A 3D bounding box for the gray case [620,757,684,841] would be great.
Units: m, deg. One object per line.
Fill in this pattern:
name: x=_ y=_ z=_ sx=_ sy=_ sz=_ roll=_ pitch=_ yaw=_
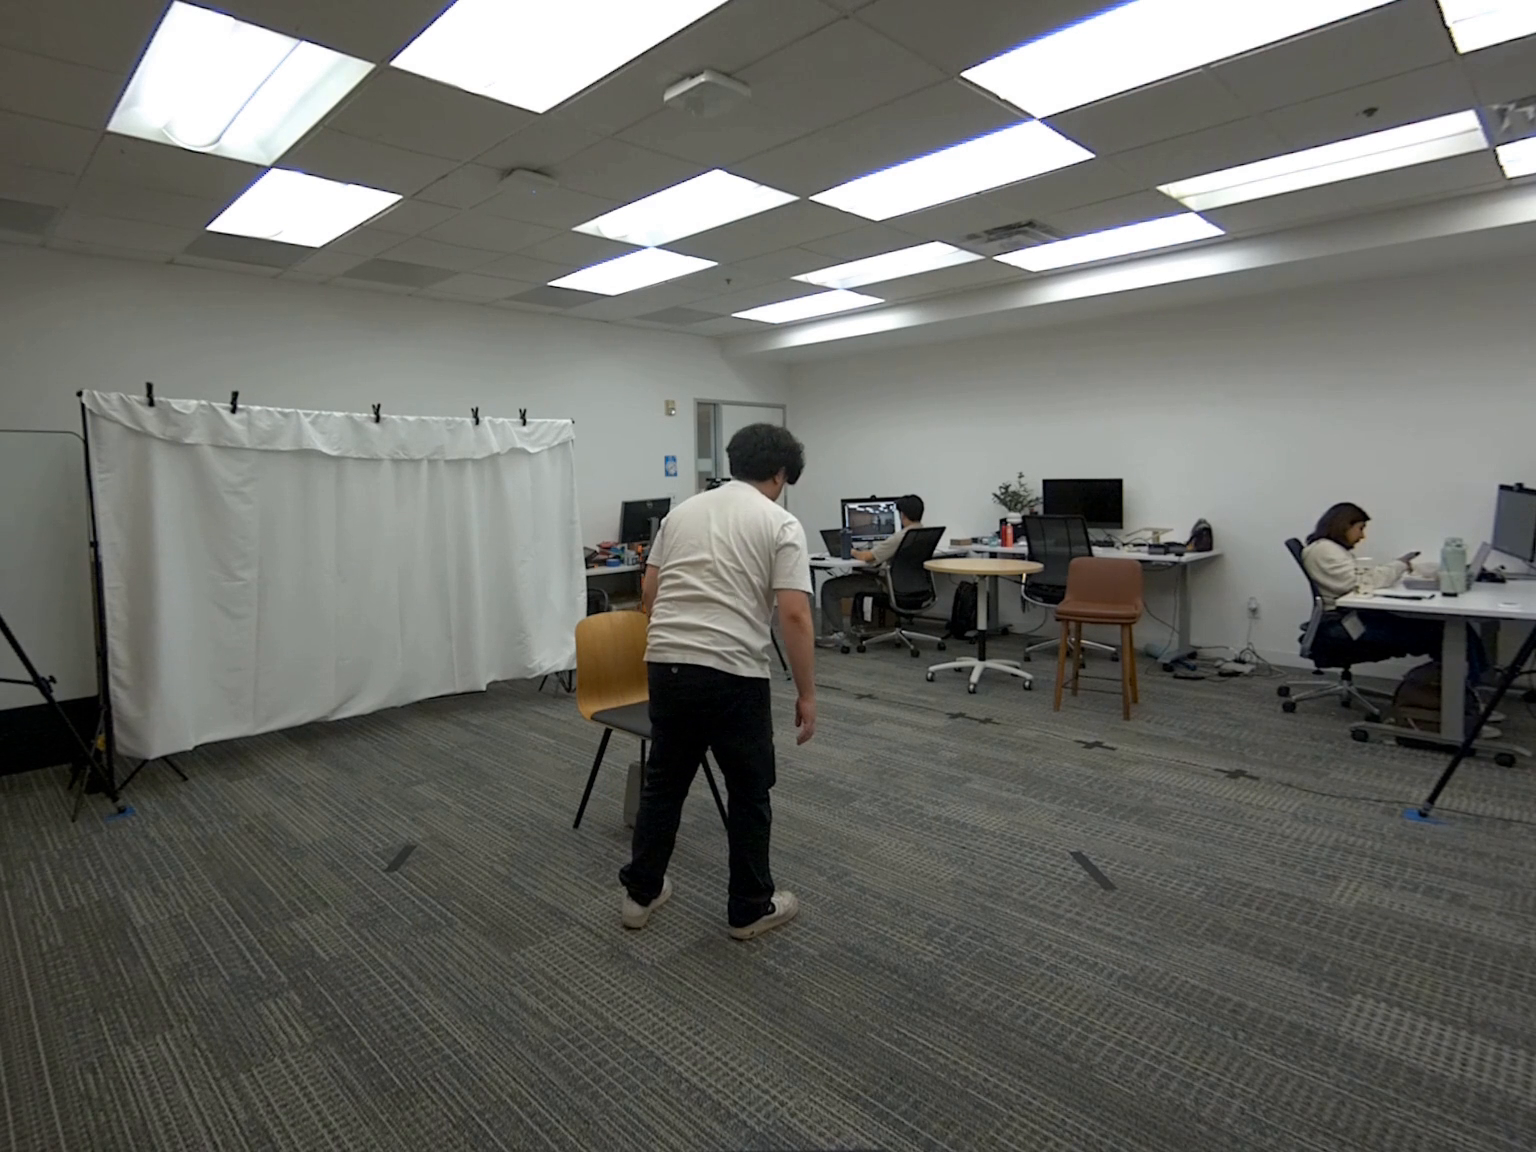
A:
gray case: x=-0.460 y=0.886 z=3.412 sx=0.101 sy=0.261 sz=0.265 roll=8 pitch=-2 yaw=-41
